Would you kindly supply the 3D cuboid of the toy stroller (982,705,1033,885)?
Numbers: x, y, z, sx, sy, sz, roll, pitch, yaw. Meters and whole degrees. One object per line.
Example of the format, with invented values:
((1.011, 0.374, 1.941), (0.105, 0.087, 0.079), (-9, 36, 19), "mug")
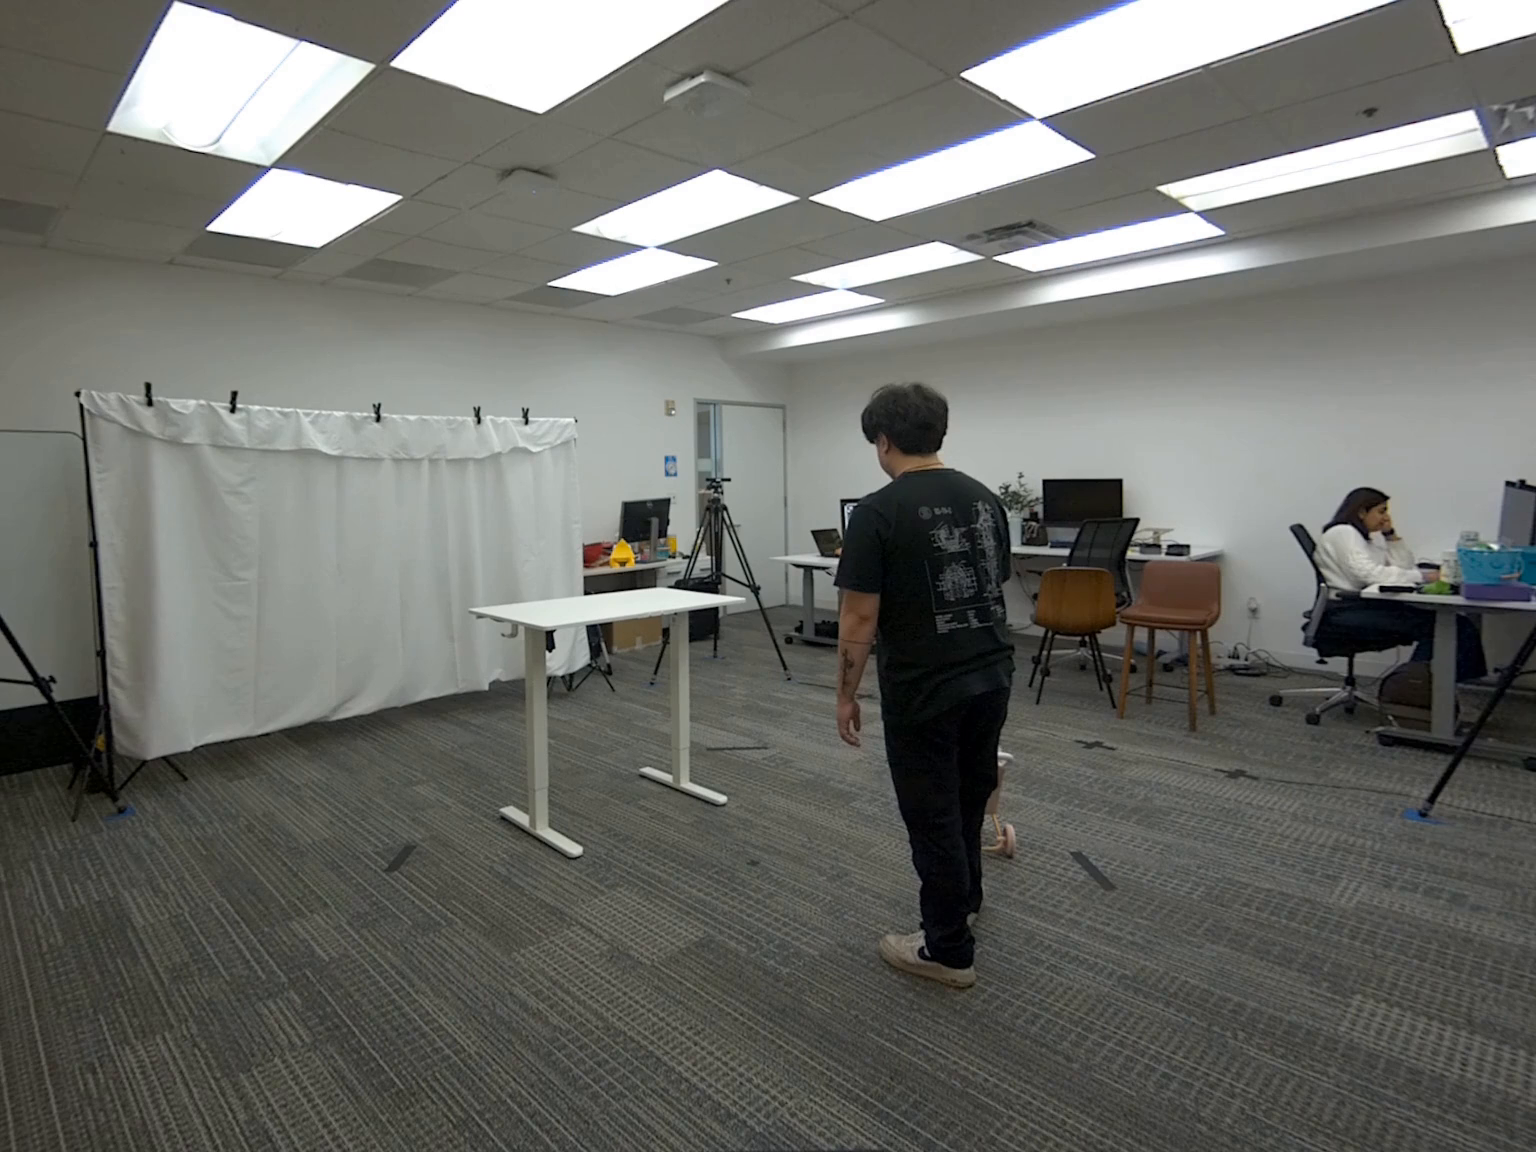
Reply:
((0.776, 0.799, 3.194), (0.283, 0.526, 0.345), (1, 20, 5), "toy stroller")
